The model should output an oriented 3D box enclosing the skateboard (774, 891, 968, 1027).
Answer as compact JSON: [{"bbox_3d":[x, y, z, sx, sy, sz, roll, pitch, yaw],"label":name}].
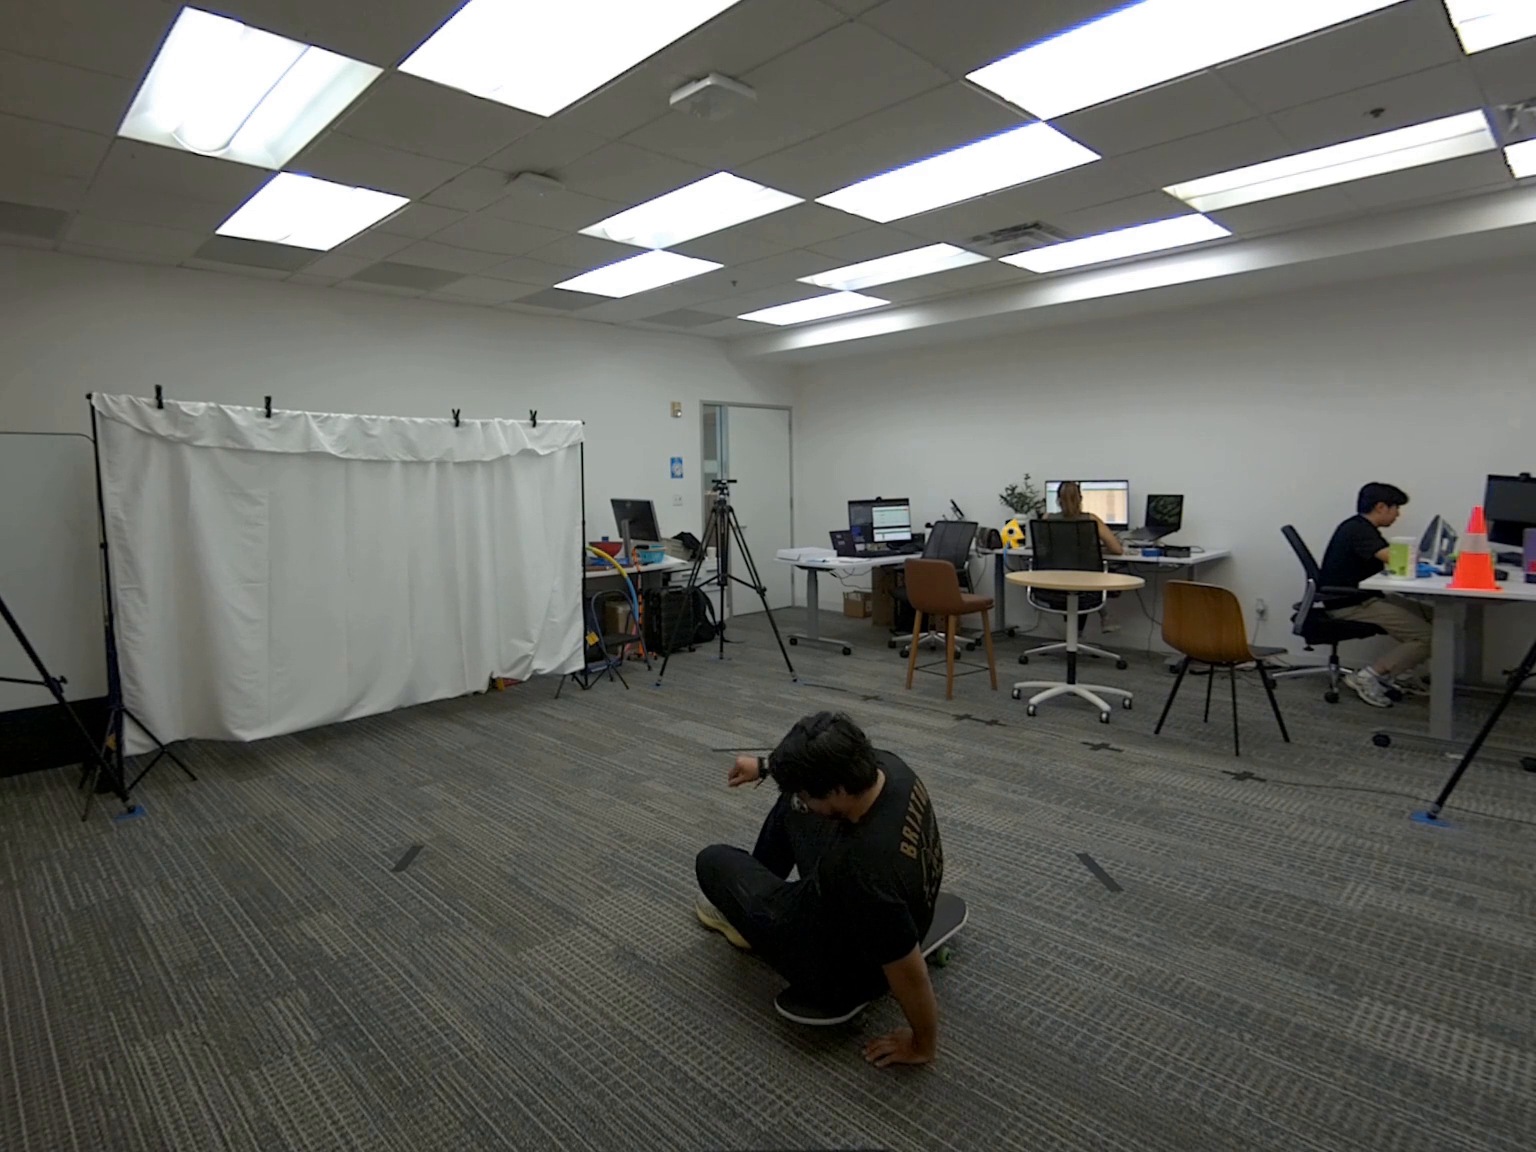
[{"bbox_3d":[0.314,1.068,2.363,0.765,0.110,0.199,-9,7,-44],"label":"skateboard"}]
